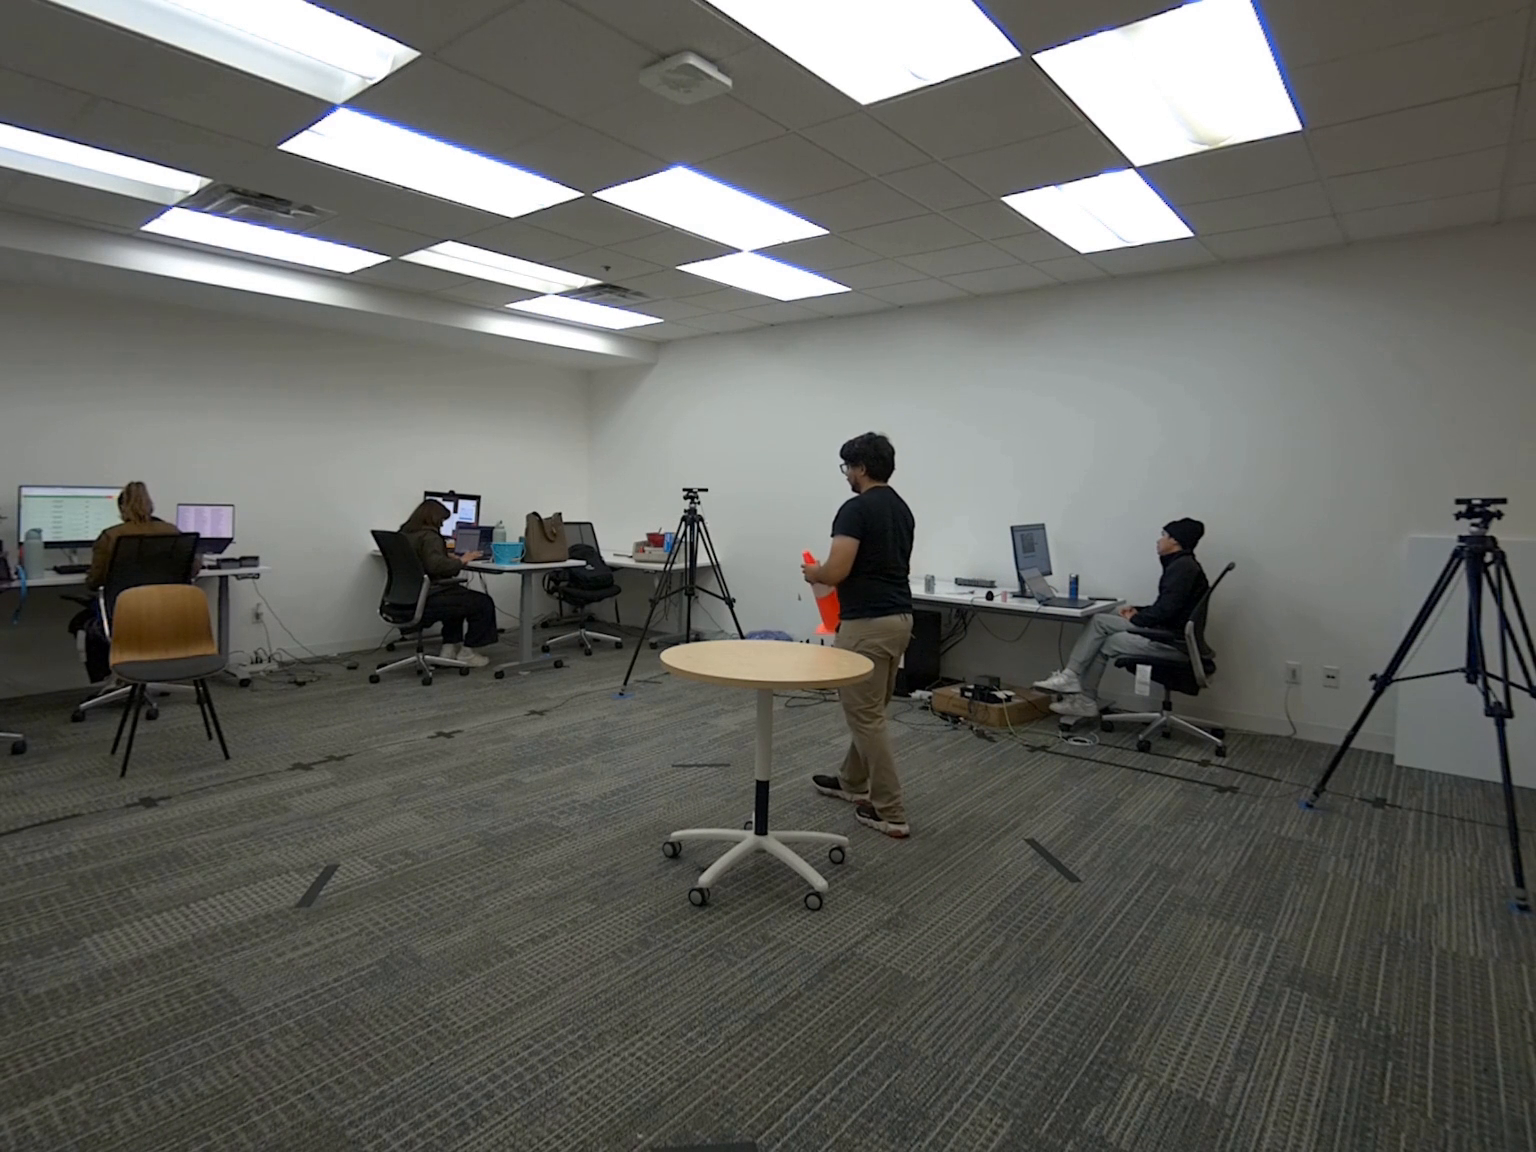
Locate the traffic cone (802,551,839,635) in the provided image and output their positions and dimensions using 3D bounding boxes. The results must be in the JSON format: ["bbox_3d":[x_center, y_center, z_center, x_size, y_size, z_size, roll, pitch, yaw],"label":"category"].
[{"bbox_3d":[0.246,0.045,3.840,0.211,0.375,0.202,-4,28,50],"label":"traffic cone"}]
